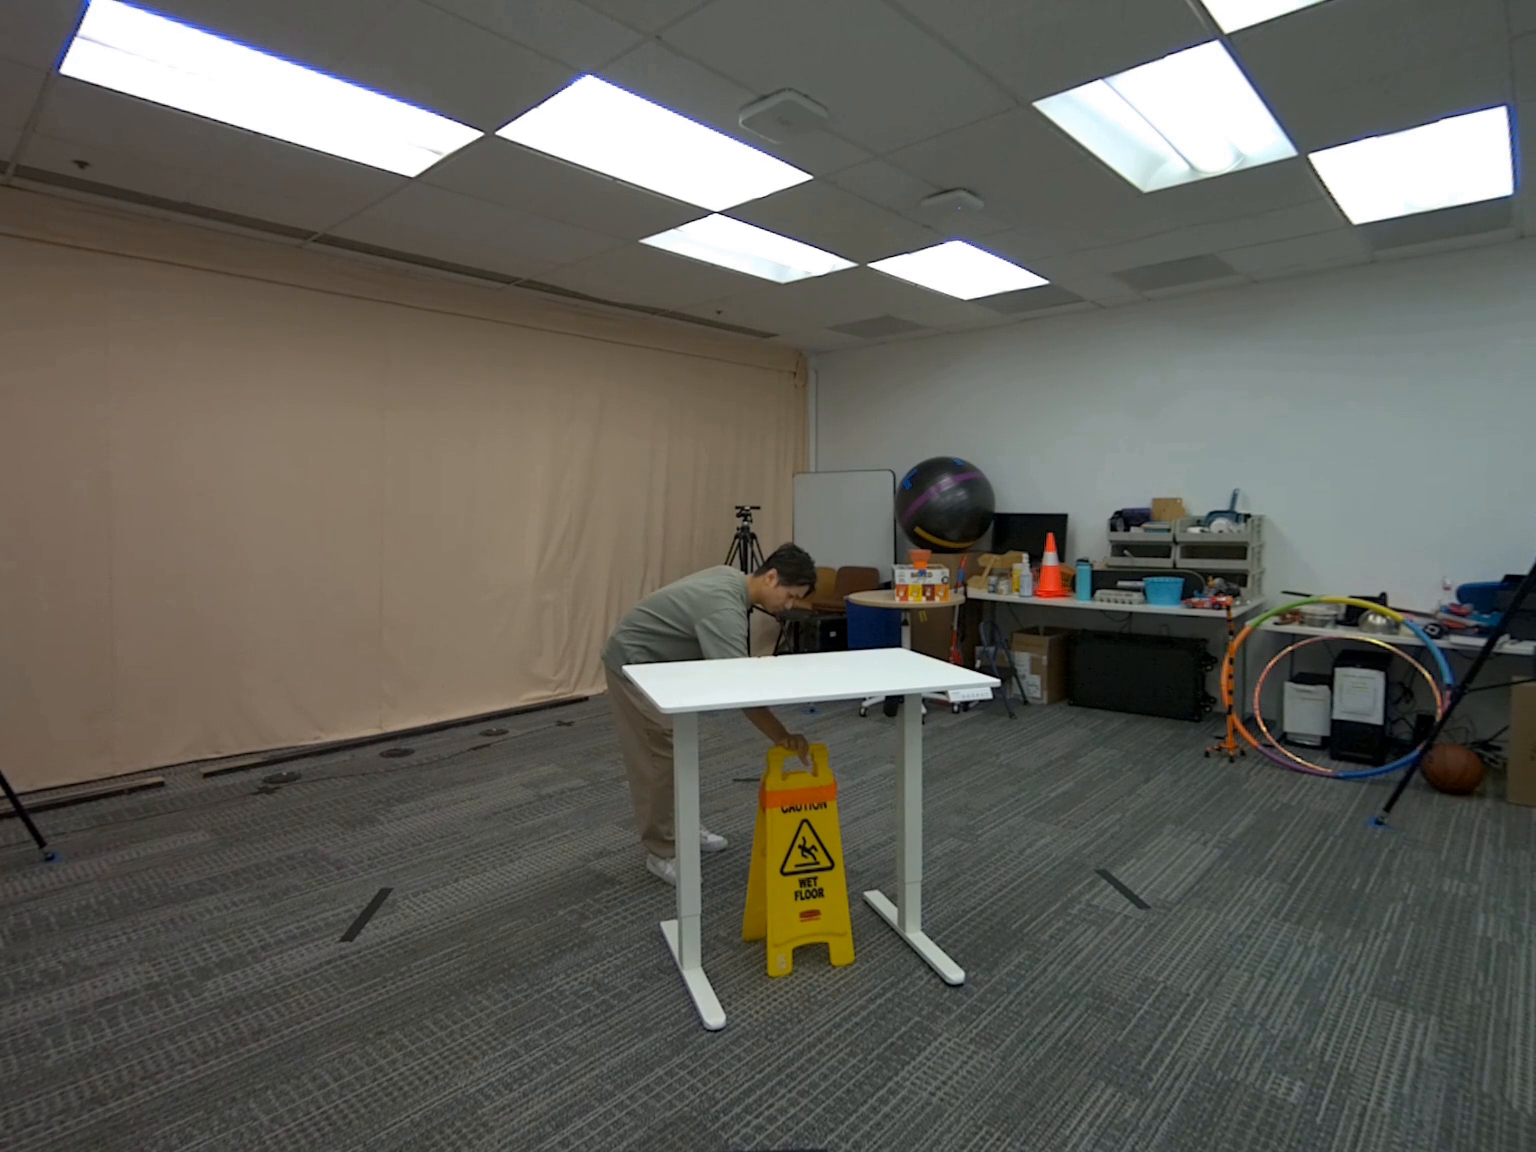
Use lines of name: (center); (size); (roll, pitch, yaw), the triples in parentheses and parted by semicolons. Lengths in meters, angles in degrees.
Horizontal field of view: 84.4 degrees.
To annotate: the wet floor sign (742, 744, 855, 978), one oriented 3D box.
wet floor sign: (0.086, 0.859, 2.601); (0.277, 0.644, 0.296); (-4, 5, -18)
